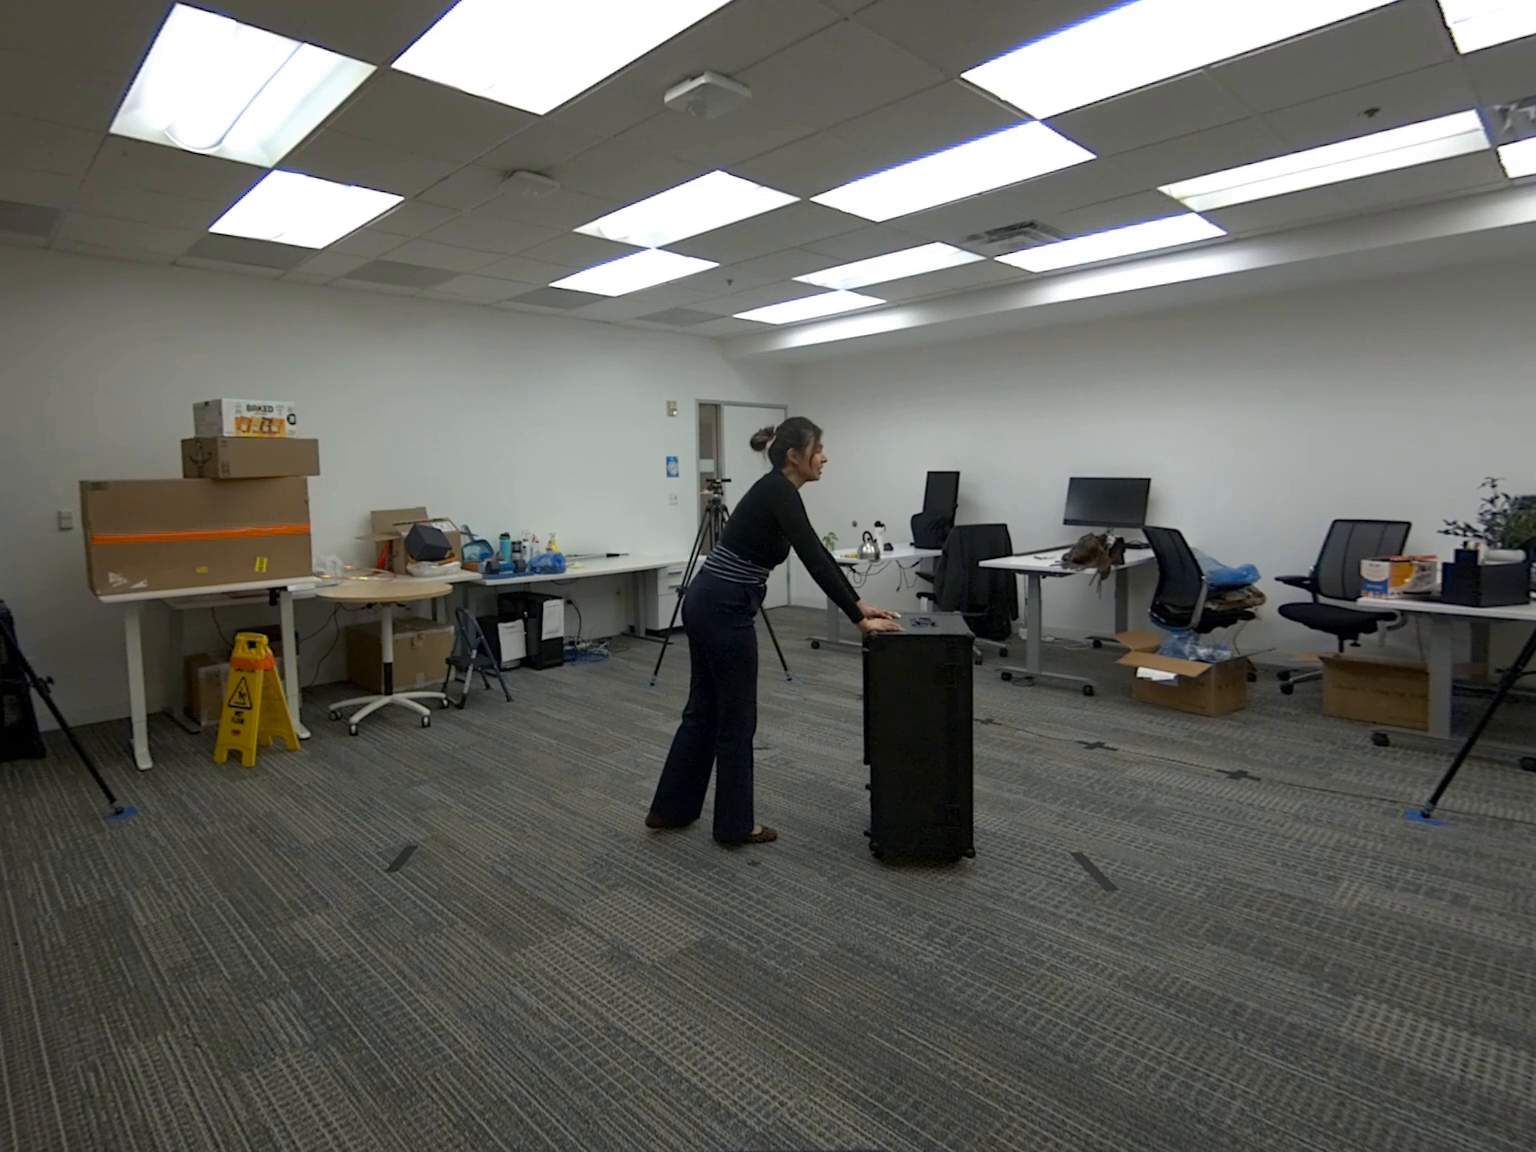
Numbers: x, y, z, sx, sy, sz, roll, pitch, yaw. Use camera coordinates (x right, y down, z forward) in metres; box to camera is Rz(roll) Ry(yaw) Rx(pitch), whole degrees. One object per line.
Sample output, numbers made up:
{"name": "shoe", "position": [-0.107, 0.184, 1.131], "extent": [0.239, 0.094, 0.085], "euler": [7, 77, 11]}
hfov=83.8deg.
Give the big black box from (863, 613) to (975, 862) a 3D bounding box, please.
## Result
{"name": "big black box", "position": [0.550, 0.601, 3.201], "extent": [0.400, 0.858, 0.518], "euler": [-1, 5, 9]}
